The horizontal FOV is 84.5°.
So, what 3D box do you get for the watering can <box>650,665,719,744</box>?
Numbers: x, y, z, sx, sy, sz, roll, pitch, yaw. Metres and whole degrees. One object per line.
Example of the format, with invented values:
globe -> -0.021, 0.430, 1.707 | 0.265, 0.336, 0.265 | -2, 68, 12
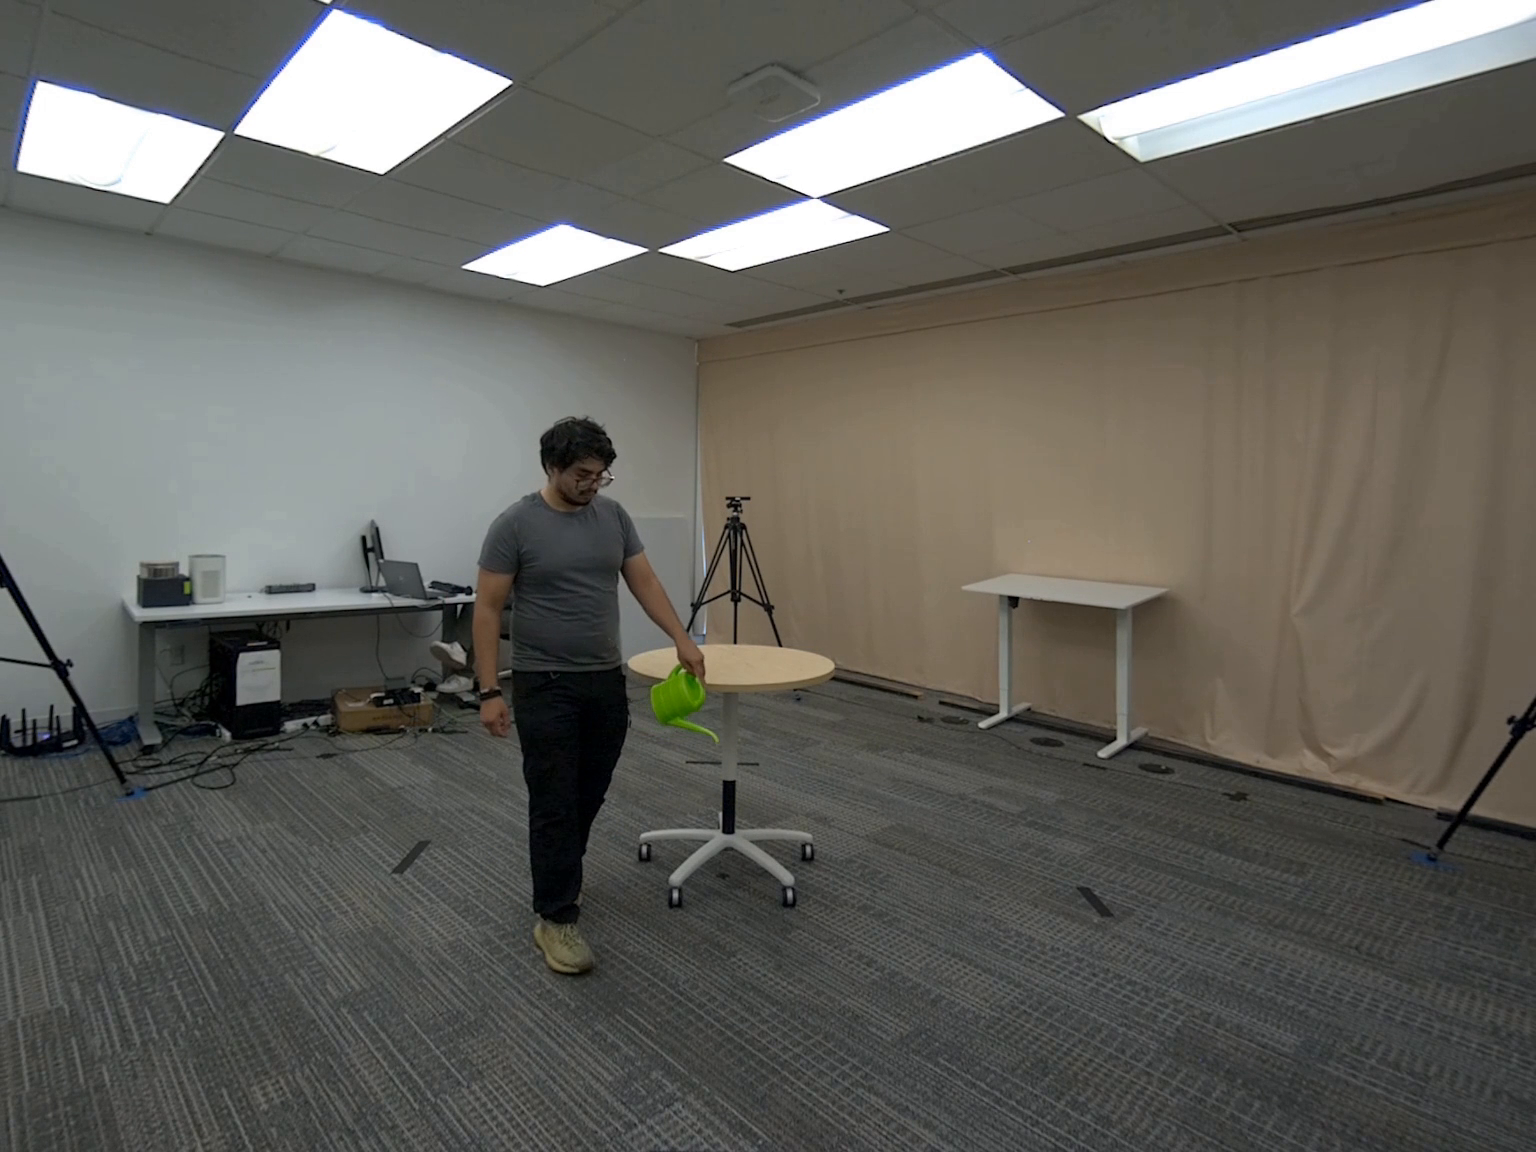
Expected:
watering can -> -0.271, 0.406, 2.547 | 0.178, 0.285, 0.095 | -30, -46, 20
